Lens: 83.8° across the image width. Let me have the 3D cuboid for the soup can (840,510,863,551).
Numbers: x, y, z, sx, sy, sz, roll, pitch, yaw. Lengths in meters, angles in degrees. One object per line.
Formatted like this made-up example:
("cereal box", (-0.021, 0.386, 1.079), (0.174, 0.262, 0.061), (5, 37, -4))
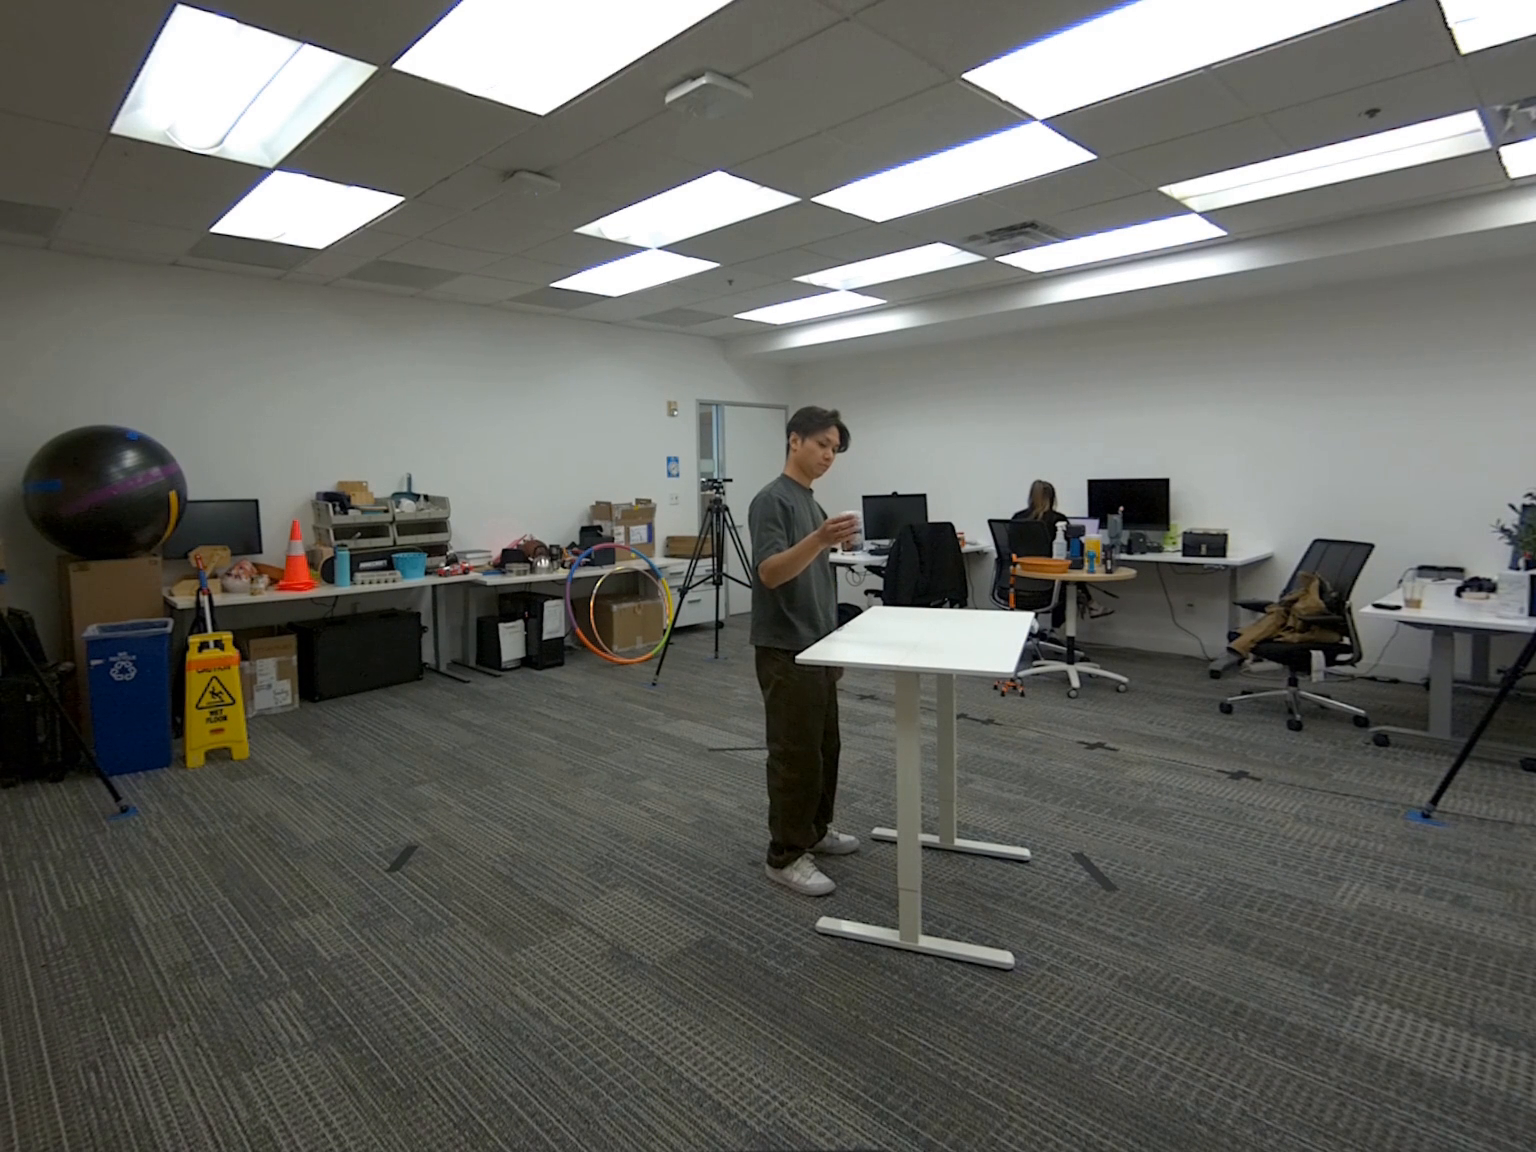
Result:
("soup can", (0.248, -0.129, 2.598), (0.067, 0.121, 0.067), (-6, 5, -1))
